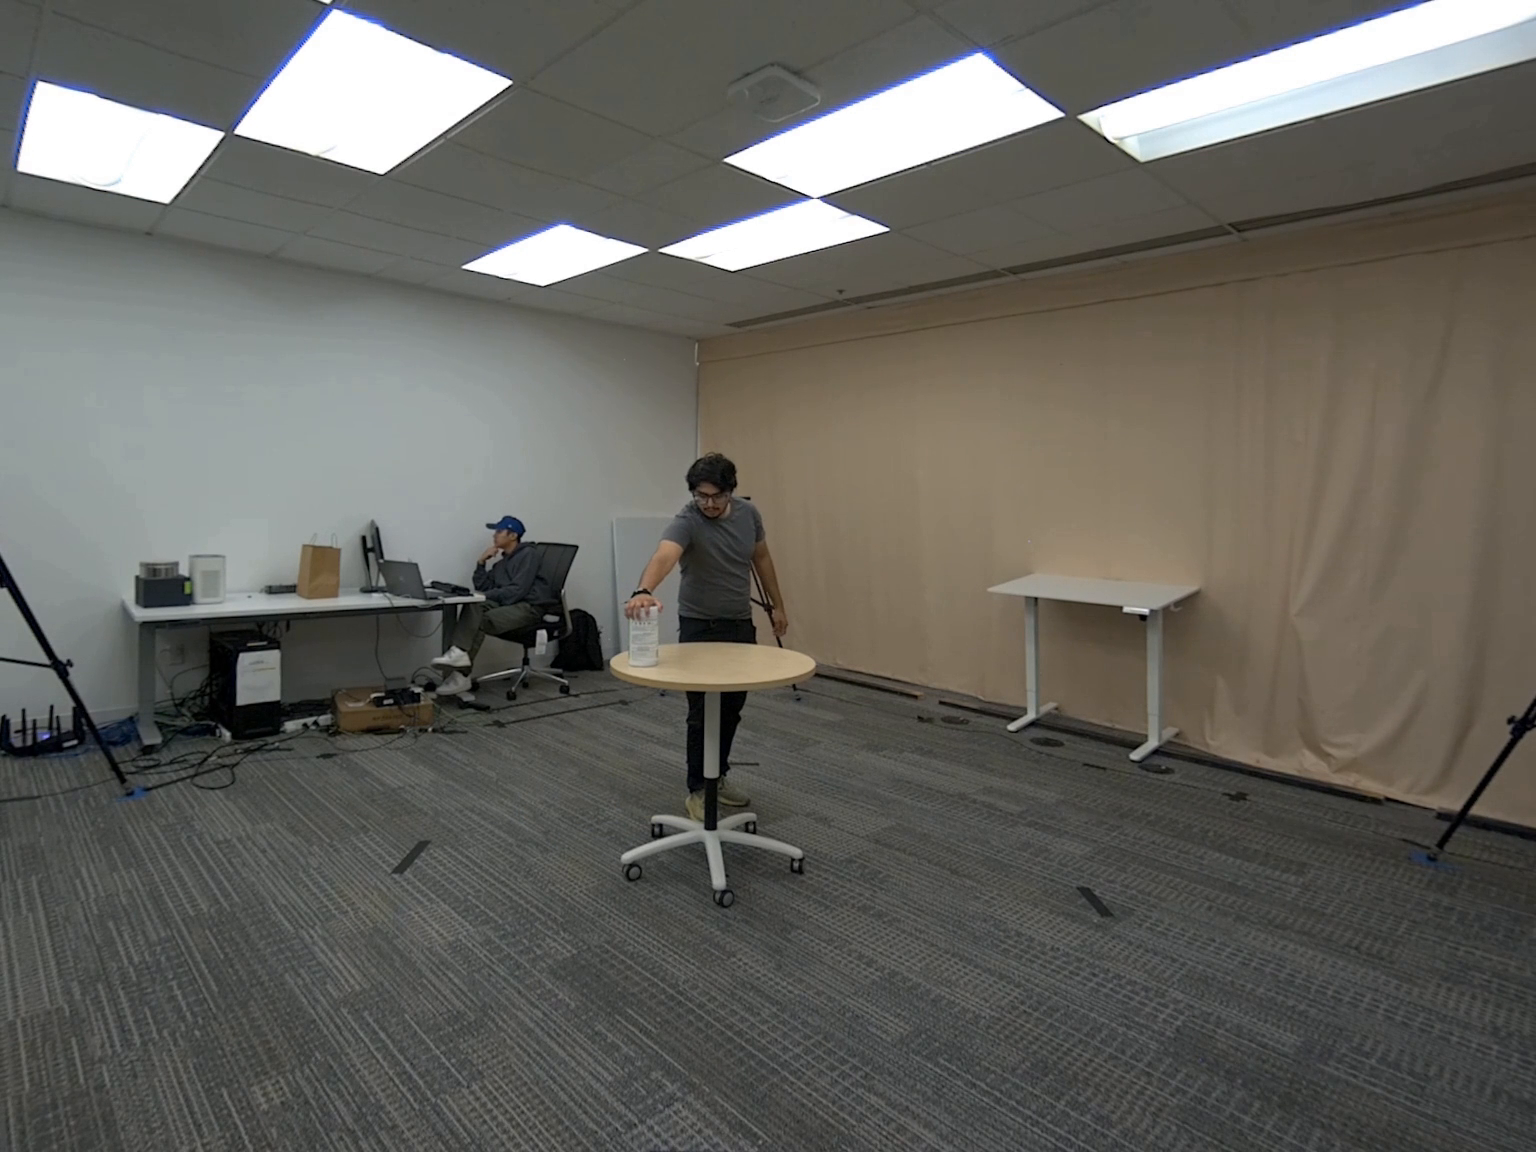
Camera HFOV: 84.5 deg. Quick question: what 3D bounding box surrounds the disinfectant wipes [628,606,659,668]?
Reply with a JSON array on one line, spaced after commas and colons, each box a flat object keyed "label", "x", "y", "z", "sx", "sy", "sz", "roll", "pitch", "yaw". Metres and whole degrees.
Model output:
[{"label": "disinfectant wipes", "x": -0.460, "y": 0.218, "z": 3.067, "sx": 0.118, "sy": 0.217, "sz": 0.118, "roll": -2, "pitch": 3, "yaw": -1}]
